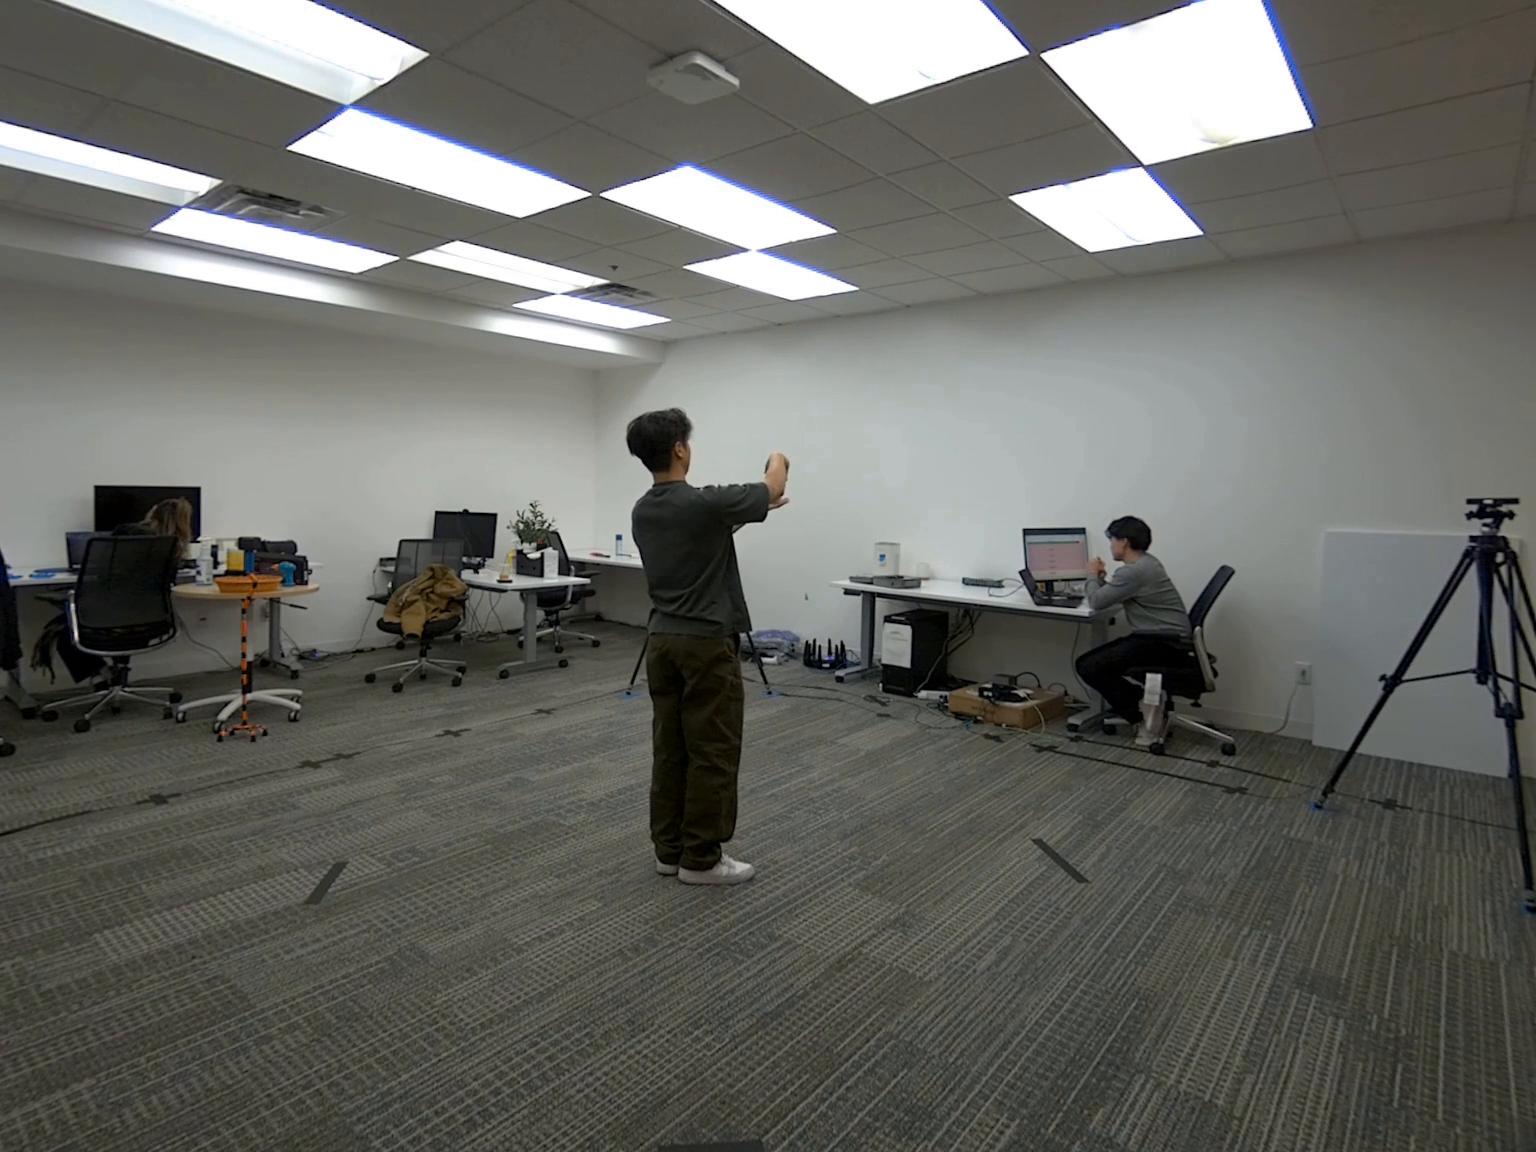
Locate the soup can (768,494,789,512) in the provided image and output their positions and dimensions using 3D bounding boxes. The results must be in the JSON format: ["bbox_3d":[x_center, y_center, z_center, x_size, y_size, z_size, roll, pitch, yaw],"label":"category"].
[{"bbox_3d":[0.015,-0.354,3.407,0.067,0.120,0.068,0,17,-2],"label":"soup can"}]
